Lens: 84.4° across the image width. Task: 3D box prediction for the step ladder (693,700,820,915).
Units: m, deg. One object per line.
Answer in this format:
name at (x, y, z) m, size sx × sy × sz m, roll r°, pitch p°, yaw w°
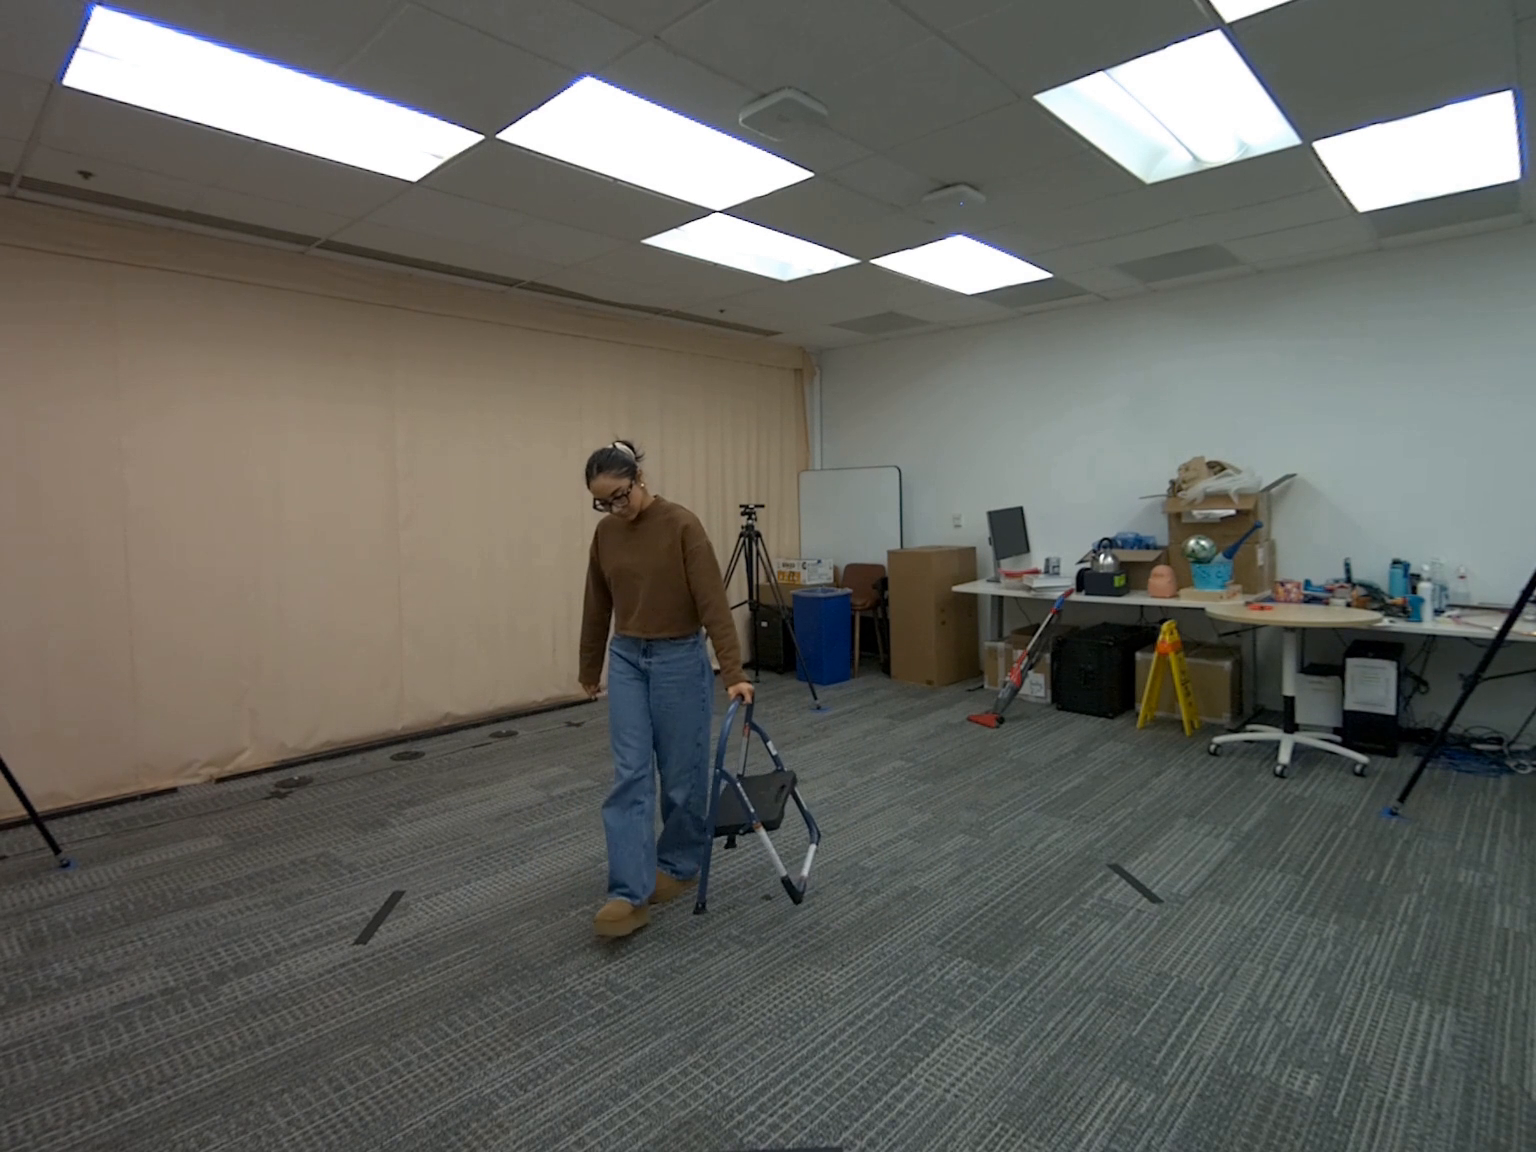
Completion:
step ladder at (-0.092, 0.681, 2.682) m, size 0.354 × 0.602 × 0.427 m, roll -12°, pitch 7°, yaw 15°
